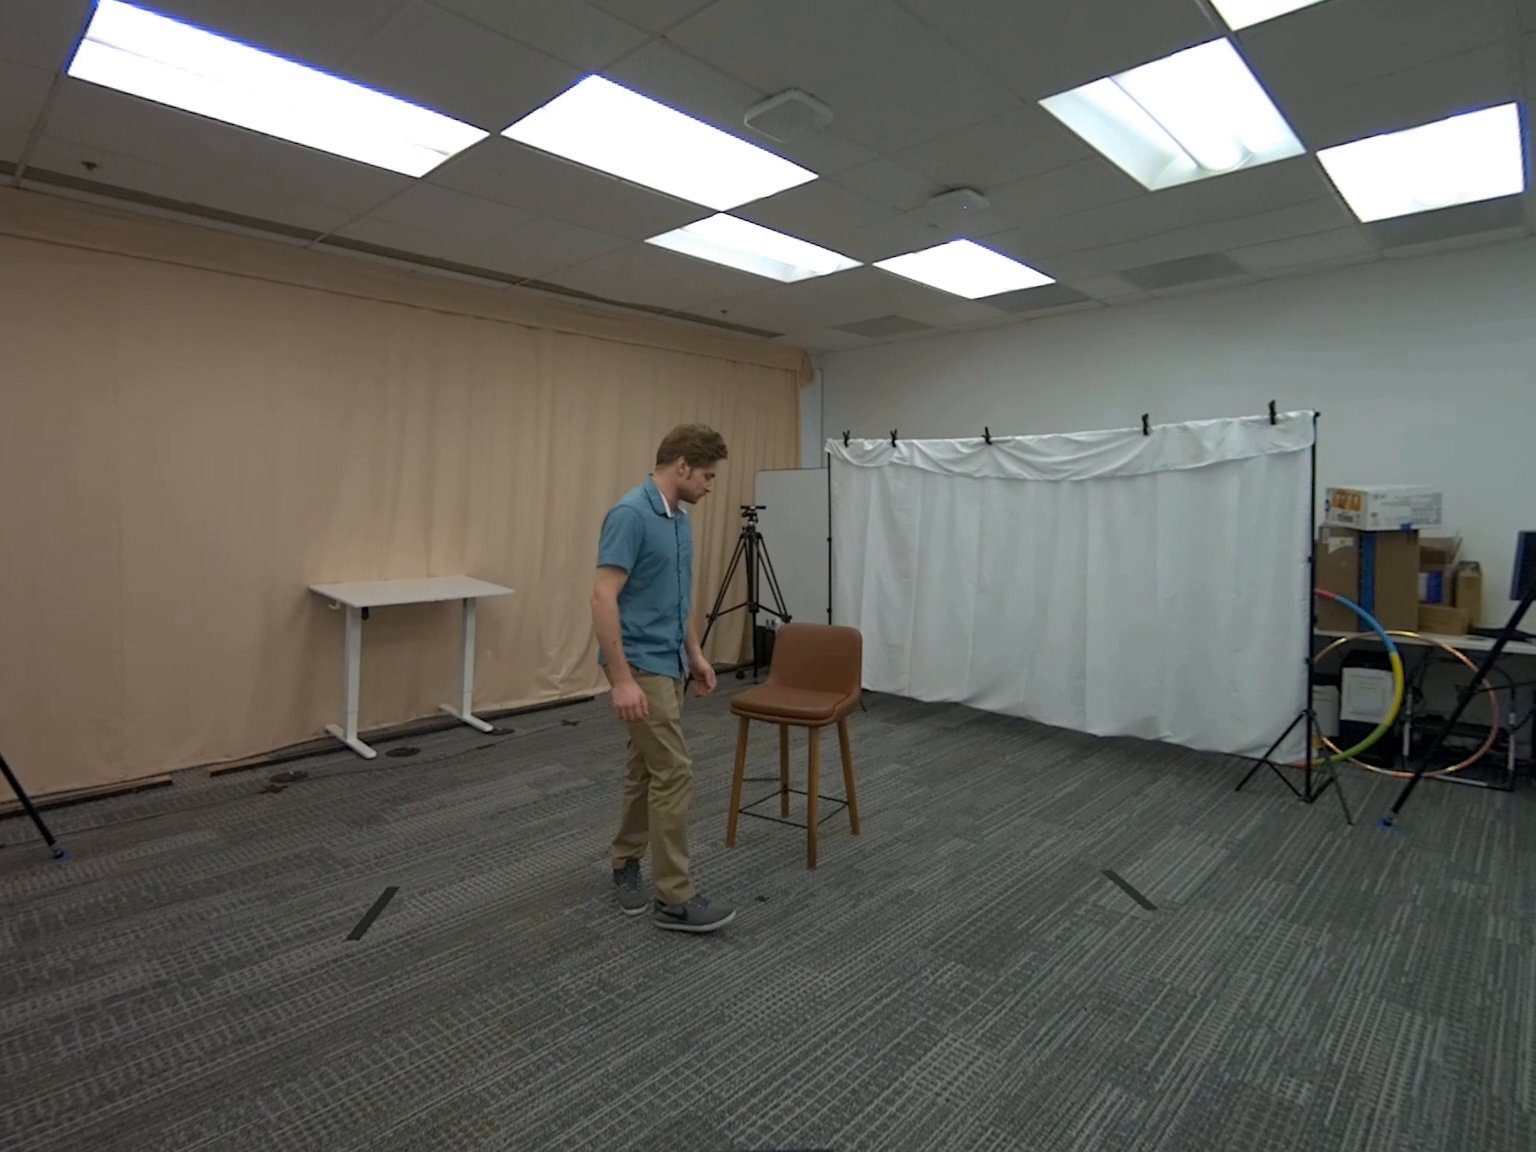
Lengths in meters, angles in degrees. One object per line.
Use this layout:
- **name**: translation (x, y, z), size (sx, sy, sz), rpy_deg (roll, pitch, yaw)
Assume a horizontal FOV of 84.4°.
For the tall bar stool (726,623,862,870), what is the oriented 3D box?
- **tall bar stool**: translation (0.126, 0.666, 3.492), size (0.471, 0.889, 0.454), rpy_deg (3, 2, 34)
